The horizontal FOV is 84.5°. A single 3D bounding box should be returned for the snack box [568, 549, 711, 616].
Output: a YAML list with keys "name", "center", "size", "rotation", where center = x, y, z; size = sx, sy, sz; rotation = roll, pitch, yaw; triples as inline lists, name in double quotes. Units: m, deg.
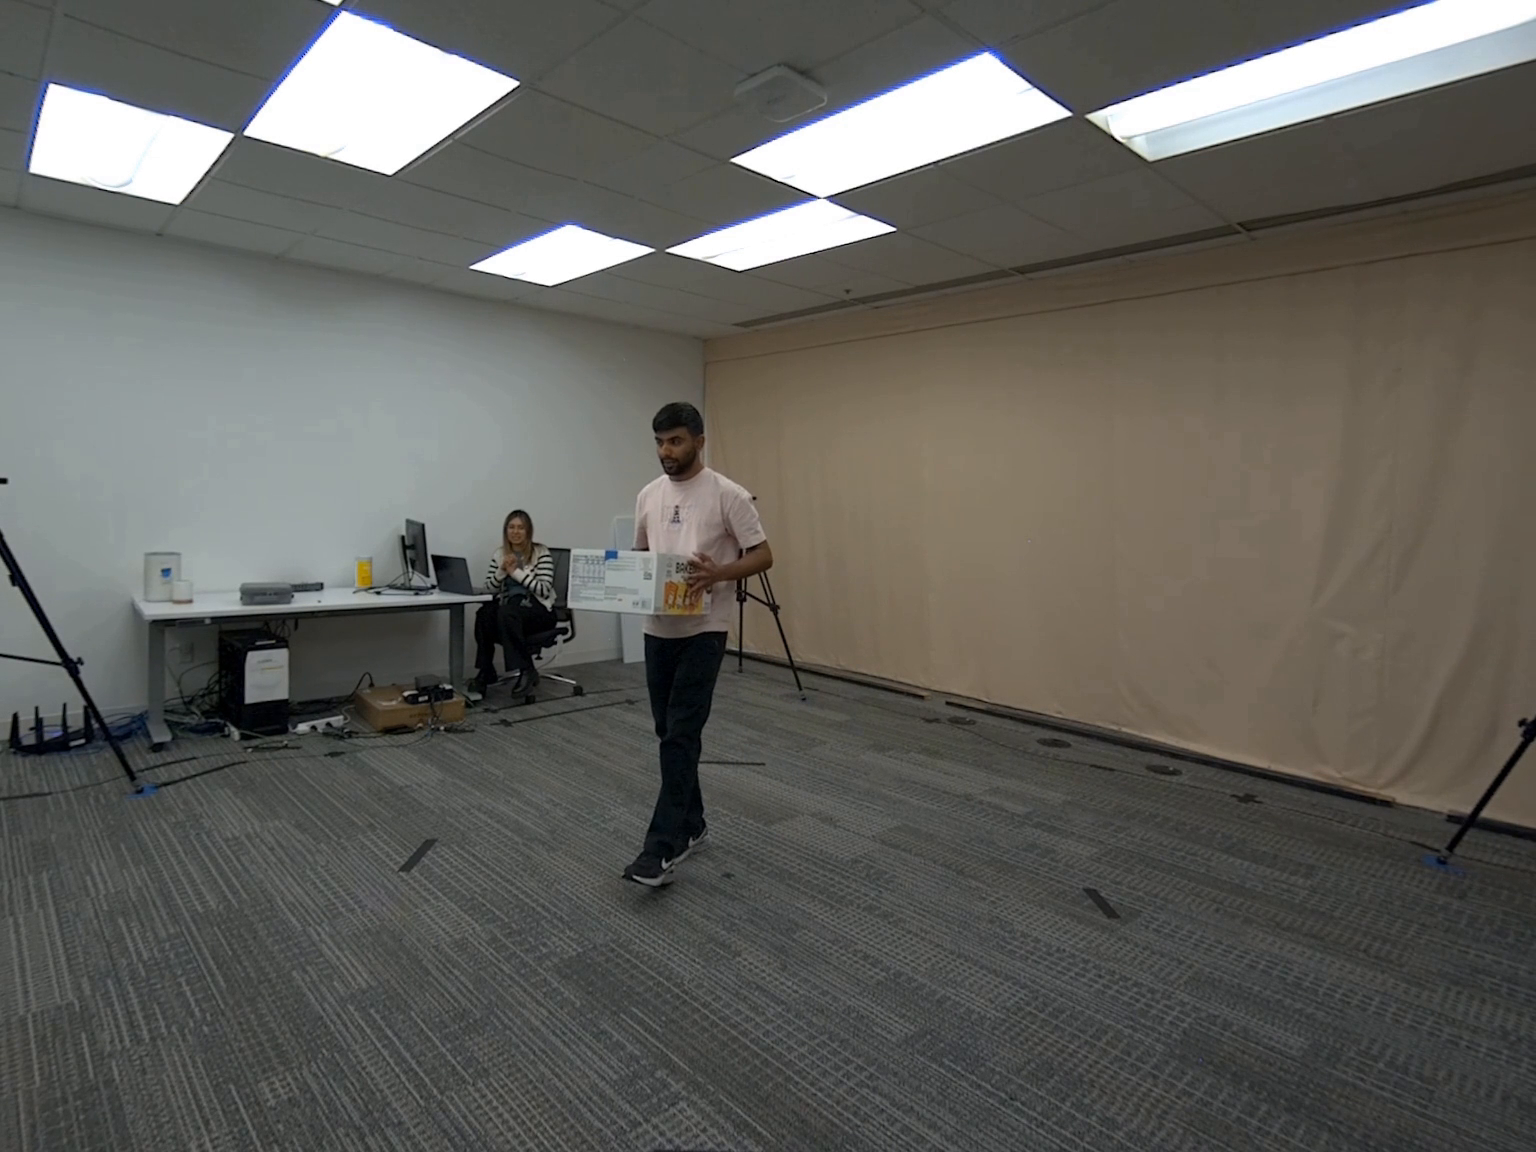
- name: "snack box"
  center: [-0.449, 0.023, 2.917]
  size: [0.347, 0.206, 0.397]
  rotation: [3, -1, 24]
